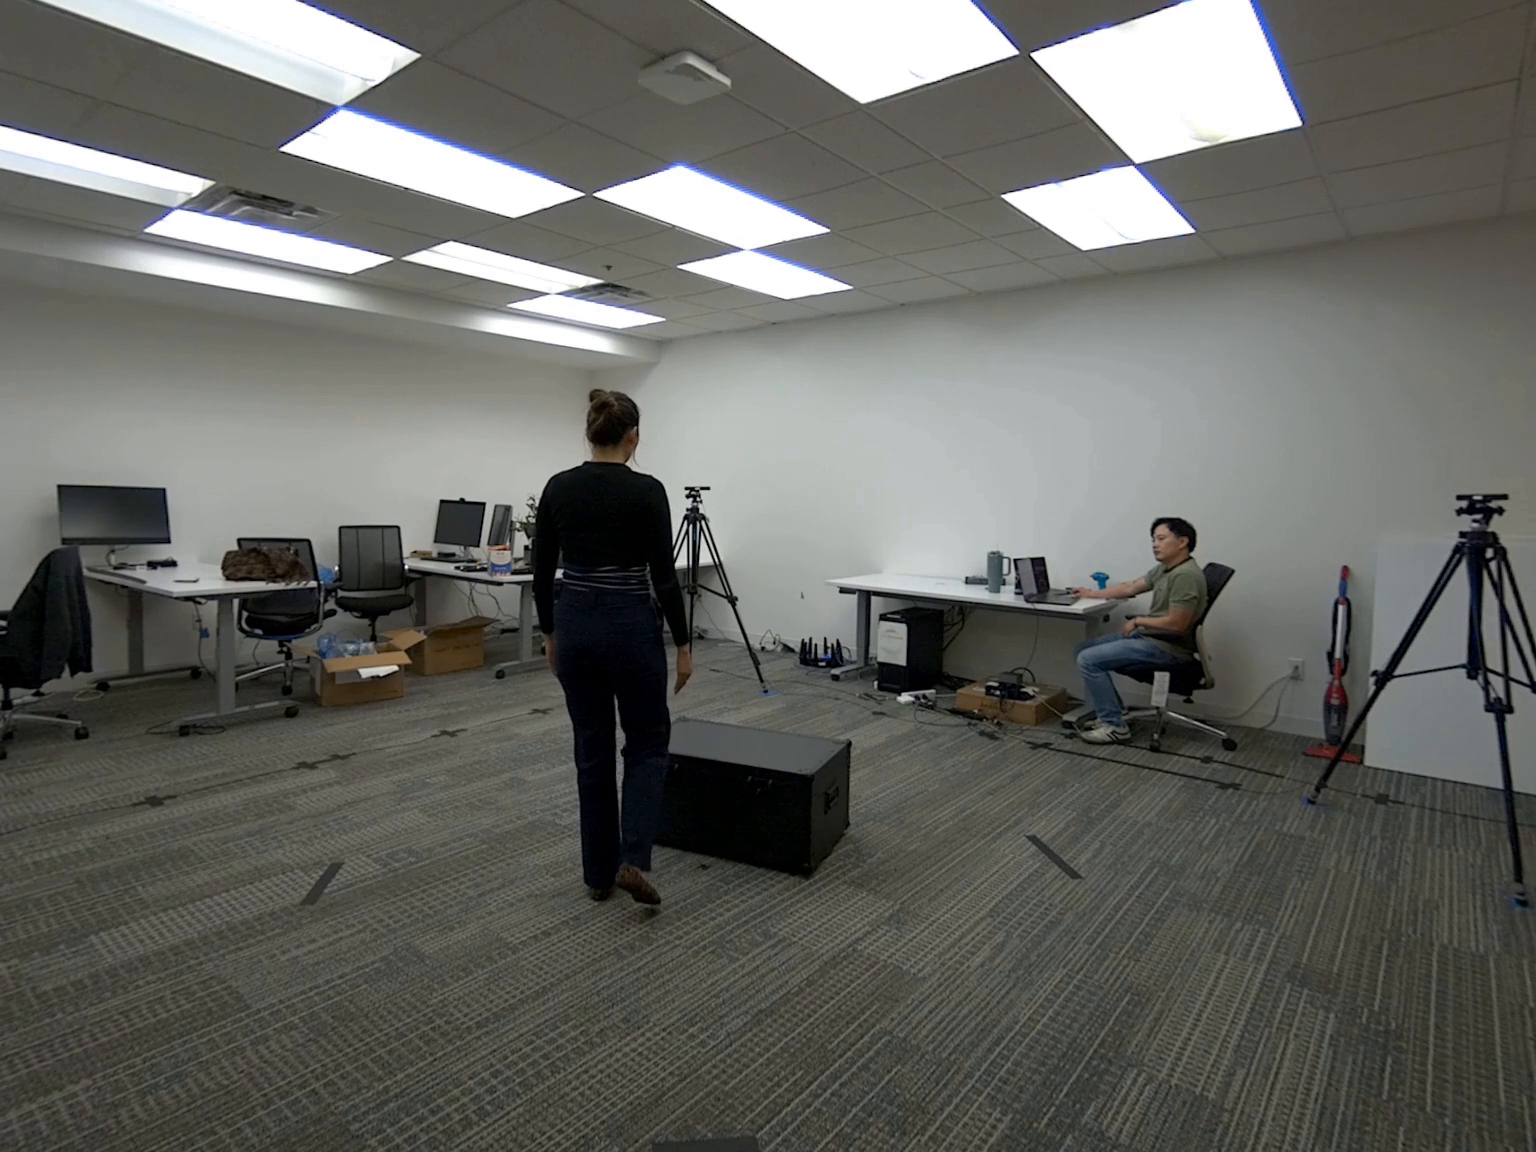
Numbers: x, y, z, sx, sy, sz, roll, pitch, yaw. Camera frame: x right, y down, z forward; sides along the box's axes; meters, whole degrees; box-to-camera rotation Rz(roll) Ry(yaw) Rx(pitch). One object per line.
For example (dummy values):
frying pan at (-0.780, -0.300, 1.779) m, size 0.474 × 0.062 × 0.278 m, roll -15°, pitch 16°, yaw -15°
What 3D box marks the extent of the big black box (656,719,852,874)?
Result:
big black box at (-0.154, 0.845, 3.412) m, size 0.883 × 0.394 × 0.510 m, roll 3°, pitch 6°, yaw 24°
